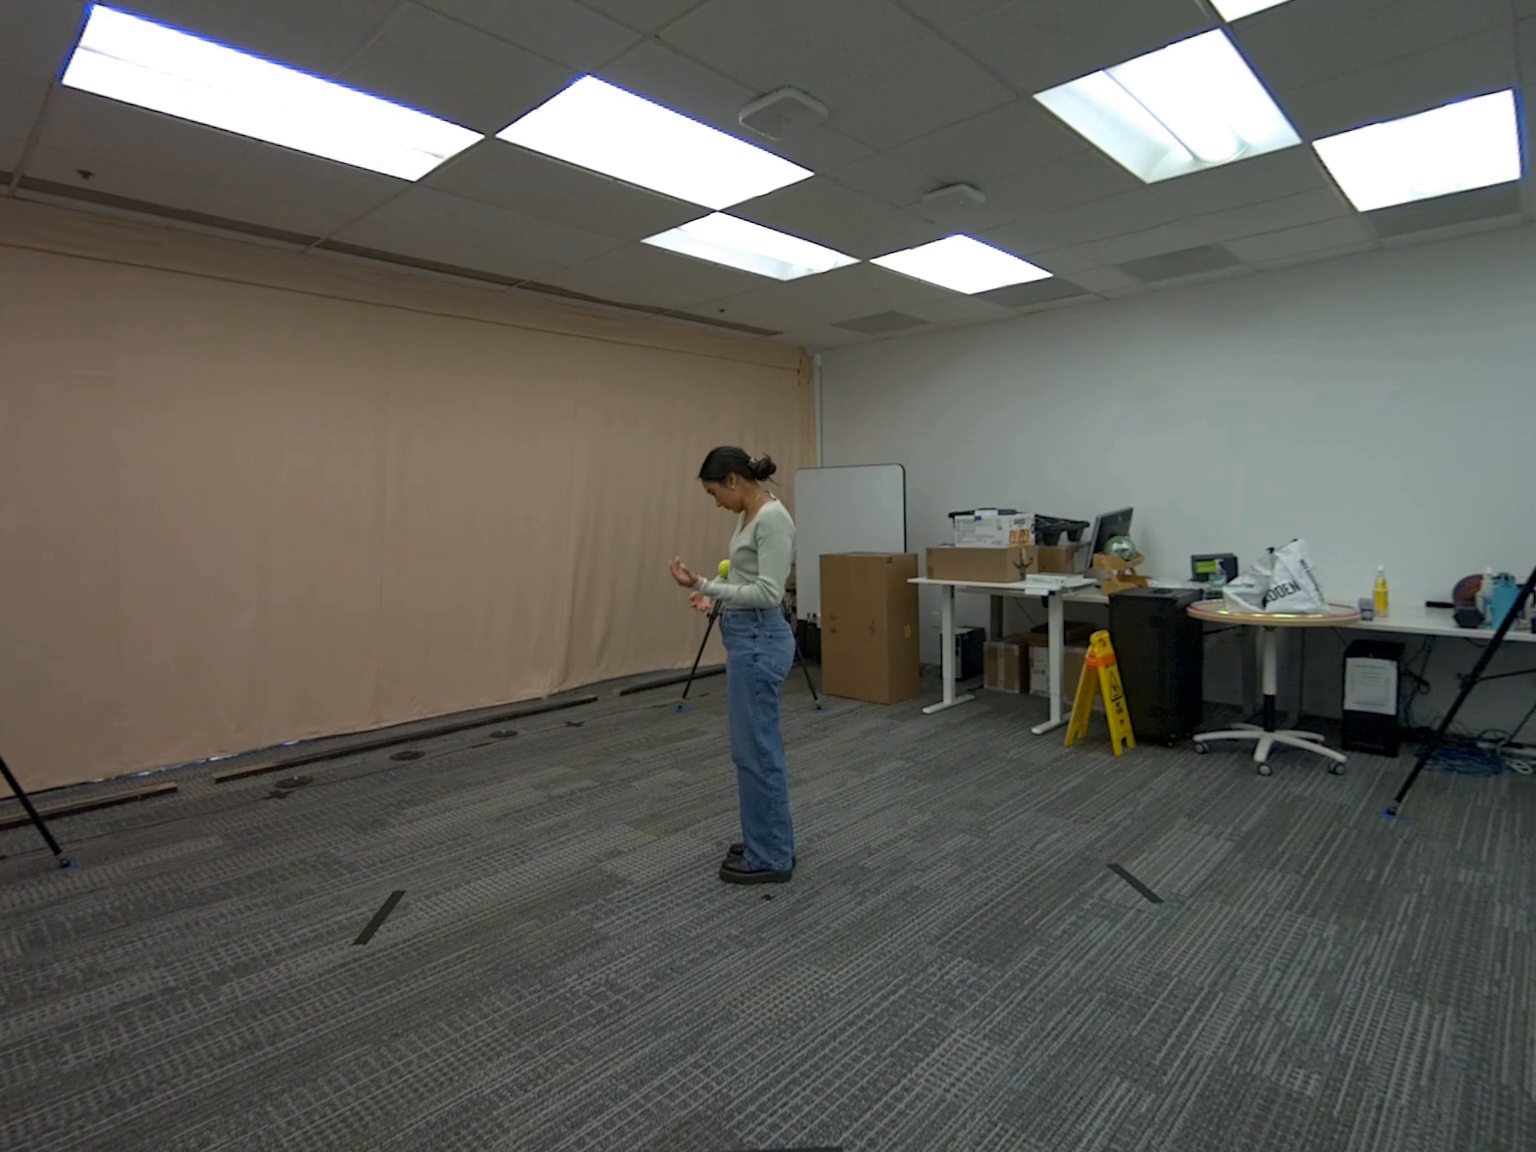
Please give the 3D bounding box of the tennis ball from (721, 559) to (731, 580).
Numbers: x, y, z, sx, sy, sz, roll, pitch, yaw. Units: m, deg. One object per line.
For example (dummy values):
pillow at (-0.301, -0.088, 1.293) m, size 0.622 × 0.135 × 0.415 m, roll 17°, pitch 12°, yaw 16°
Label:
tennis ball at (-0.113, -0.029, 3.226) m, size 0.066 × 0.066 × 0.067 m, roll -1°, pitch 4°, yaw -2°
